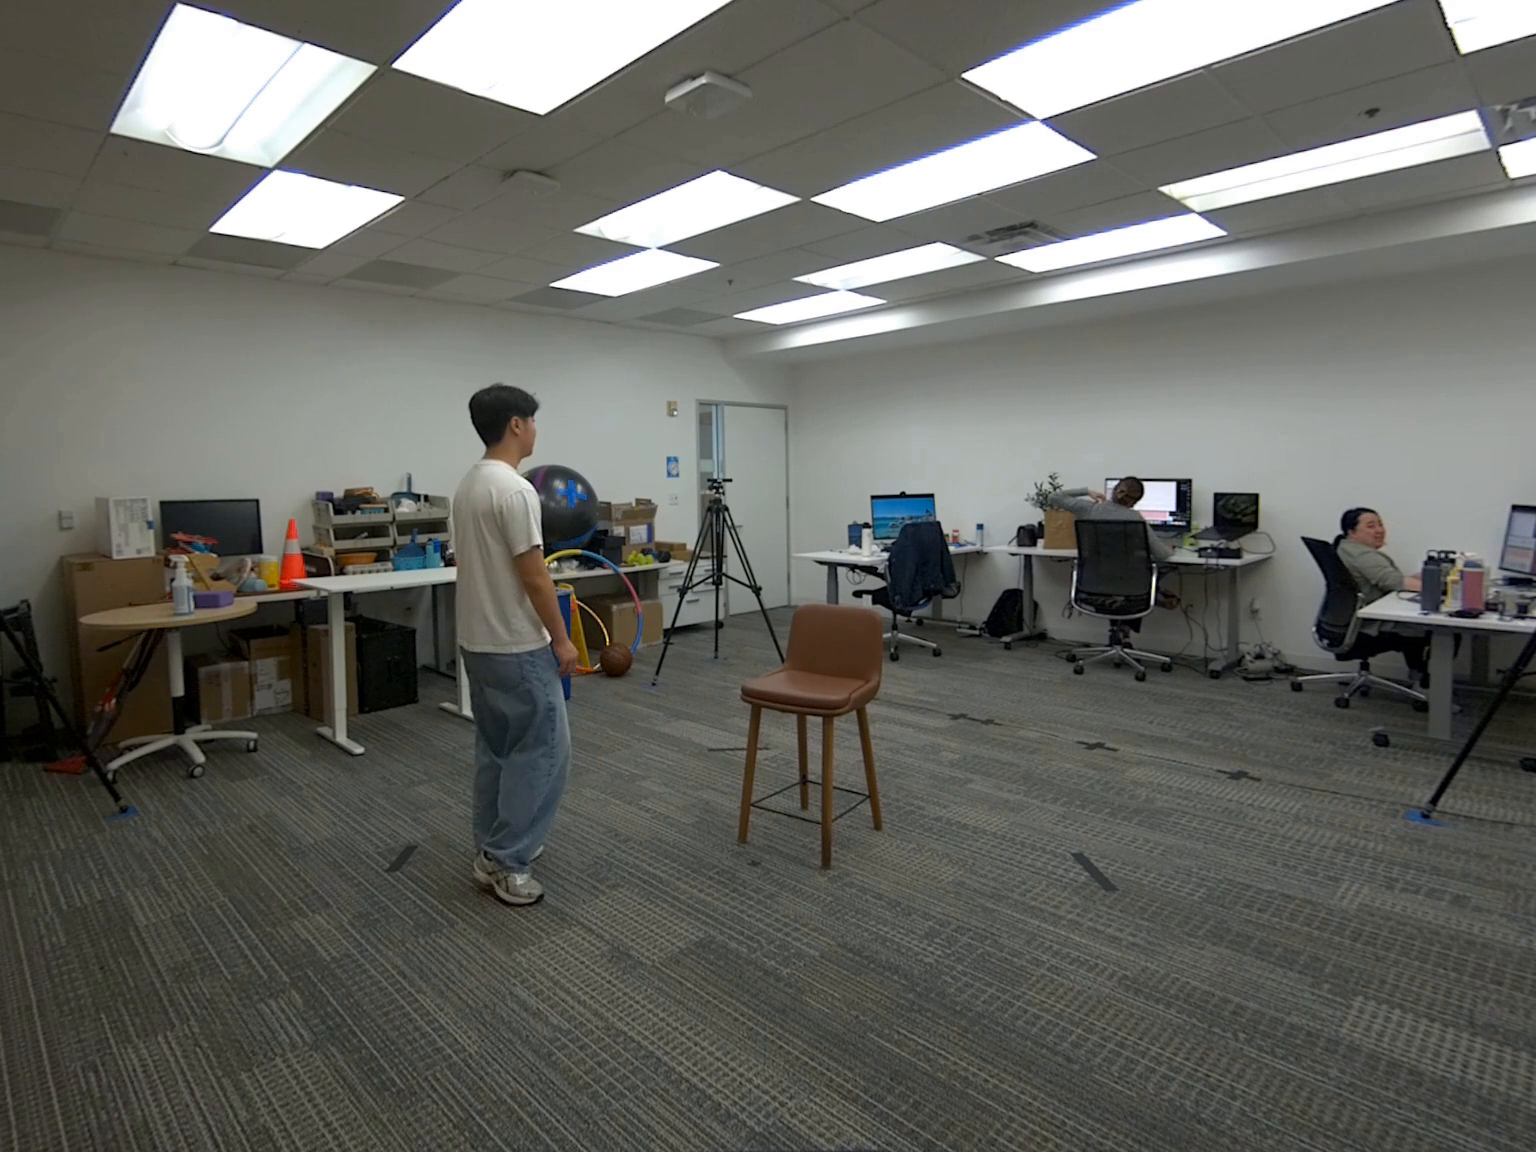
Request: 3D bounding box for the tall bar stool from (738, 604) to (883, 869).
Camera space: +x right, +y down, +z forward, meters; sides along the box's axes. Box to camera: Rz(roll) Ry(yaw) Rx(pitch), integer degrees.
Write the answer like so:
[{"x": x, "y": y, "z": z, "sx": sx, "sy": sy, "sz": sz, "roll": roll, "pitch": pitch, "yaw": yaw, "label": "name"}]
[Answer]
[{"x": 0.177, "y": 0.581, "z": 3.319, "sx": 0.470, "sy": 0.888, "sz": 0.455, "roll": 3, "pitch": 3, "yaw": 37, "label": "tall bar stool"}]
